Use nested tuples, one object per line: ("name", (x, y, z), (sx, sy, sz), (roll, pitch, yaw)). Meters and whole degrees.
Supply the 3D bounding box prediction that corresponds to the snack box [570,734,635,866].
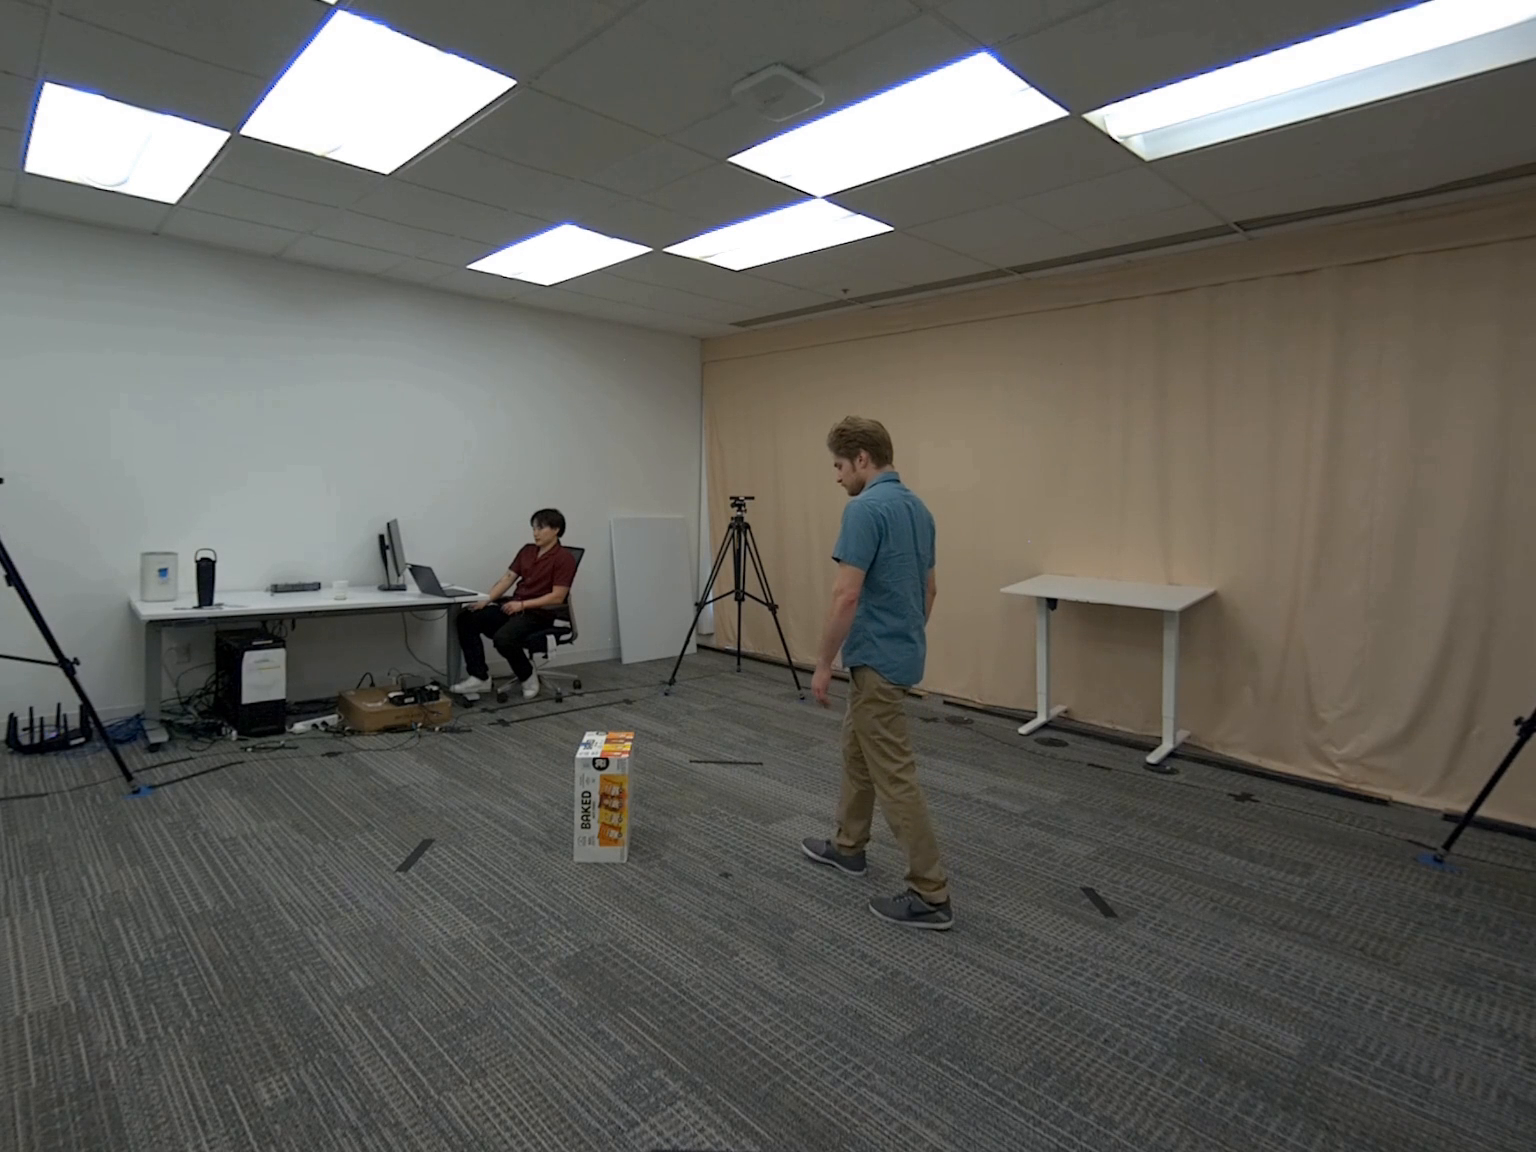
("snack box", (-0.651, 0.871, 3.347), (0.205, 0.404, 0.342), (0, 4, -3))
